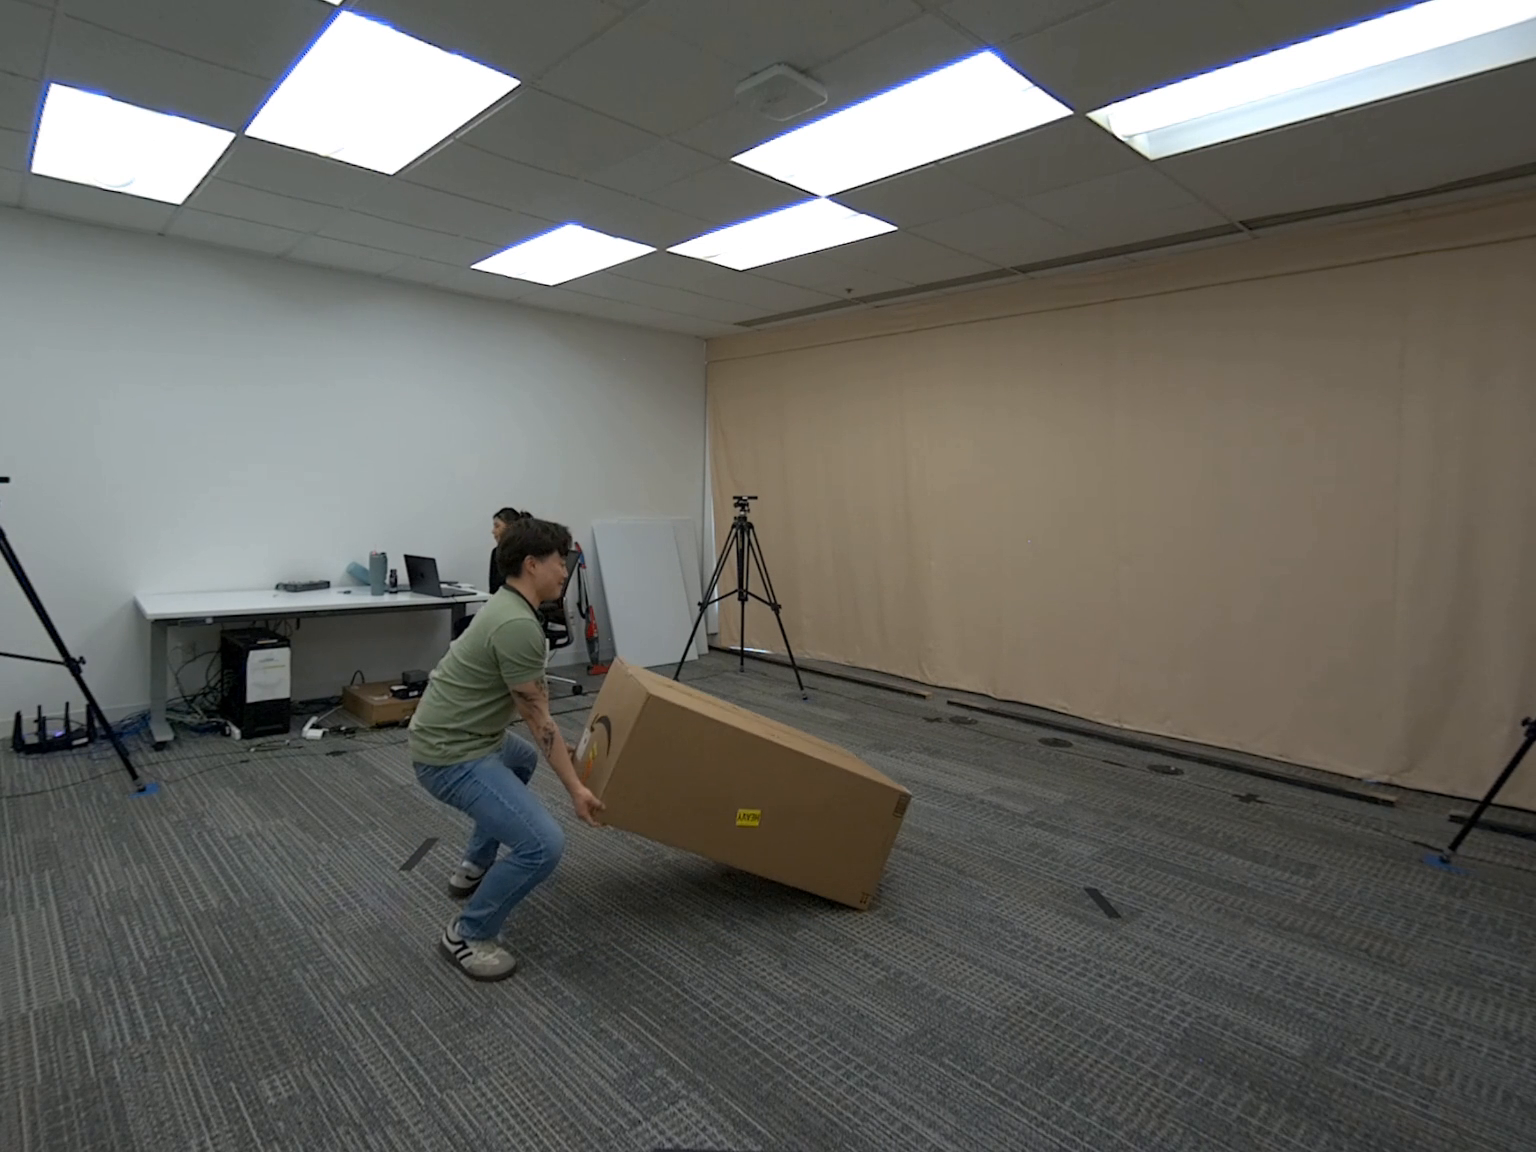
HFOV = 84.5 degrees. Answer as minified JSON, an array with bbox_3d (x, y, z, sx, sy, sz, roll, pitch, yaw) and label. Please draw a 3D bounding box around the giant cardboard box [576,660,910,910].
[{"bbox_3d":[-0.118,0.717,2.978,1.007,0.427,0.587,25,-4,-19],"label":"giant cardboard box"}]
